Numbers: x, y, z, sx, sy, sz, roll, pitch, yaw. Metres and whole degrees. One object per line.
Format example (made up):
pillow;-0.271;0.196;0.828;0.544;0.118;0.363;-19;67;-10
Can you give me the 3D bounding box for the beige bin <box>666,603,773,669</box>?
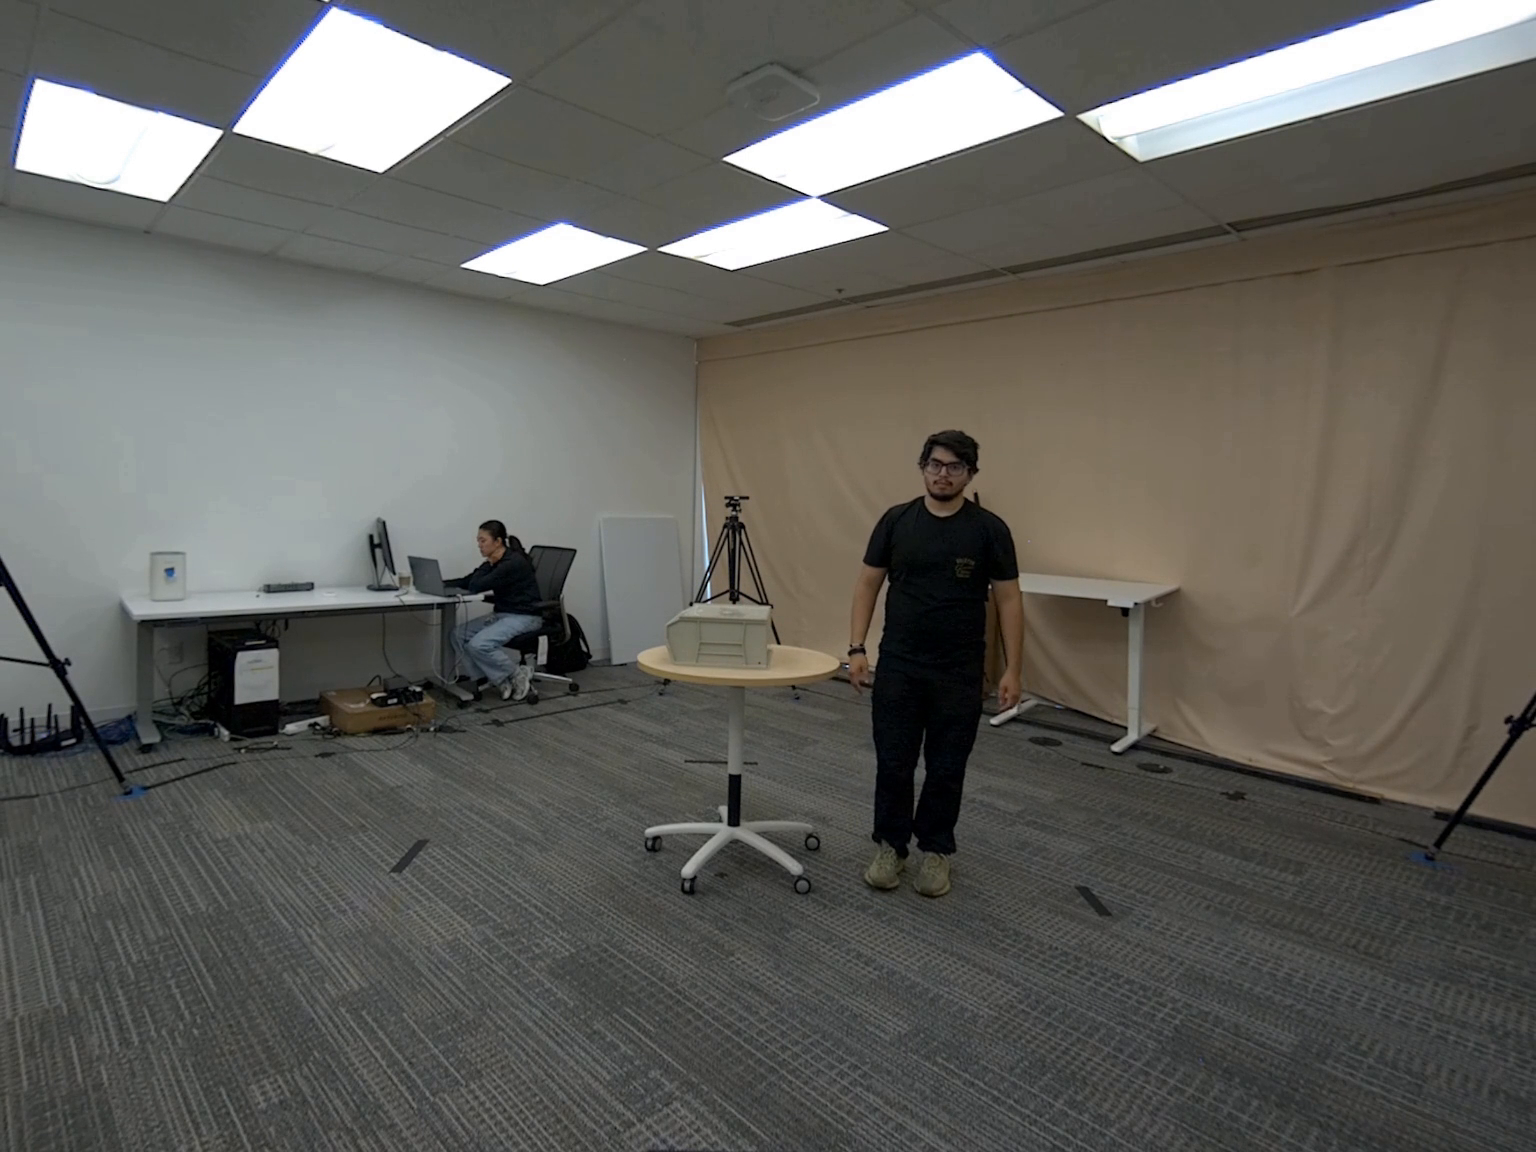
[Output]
beige bin;-0.179;0.215;3.199;0.379;0.188;0.422;1;5;4
